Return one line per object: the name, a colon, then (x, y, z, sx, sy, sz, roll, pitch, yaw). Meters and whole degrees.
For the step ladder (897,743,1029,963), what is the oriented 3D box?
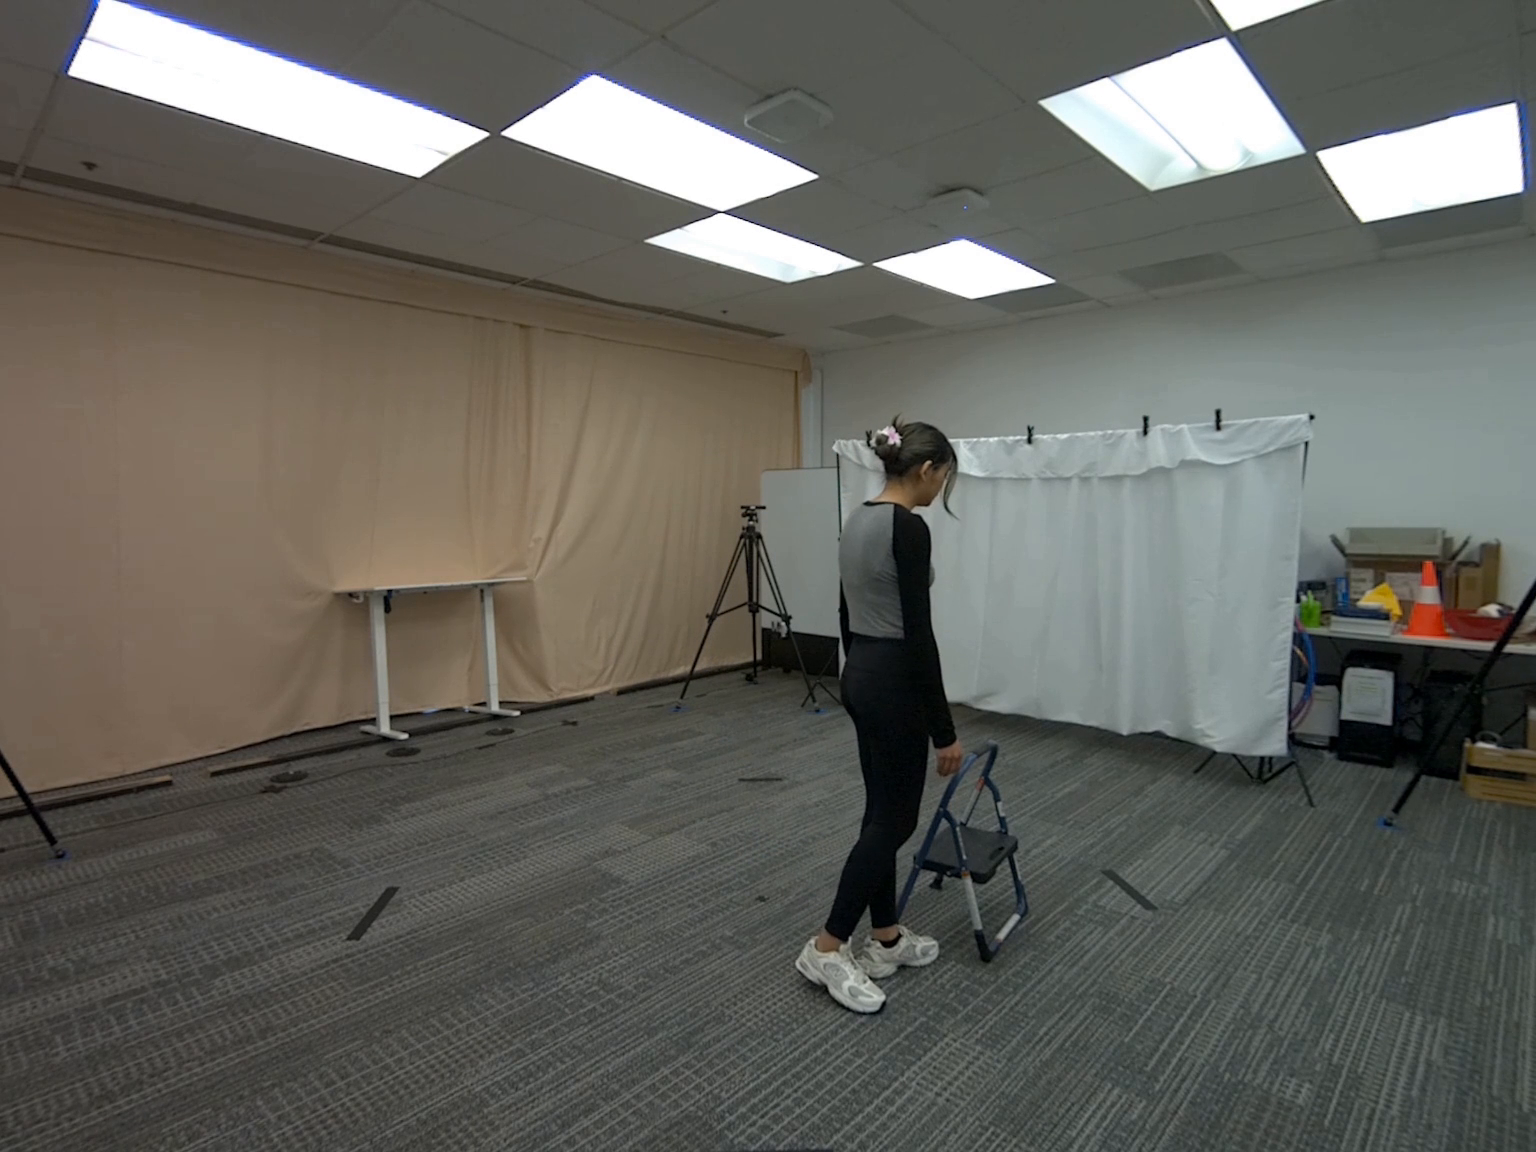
step ladder: (0.641, 0.854, 2.804, 0.360, 0.605, 0.418, 2, 4, 34)
